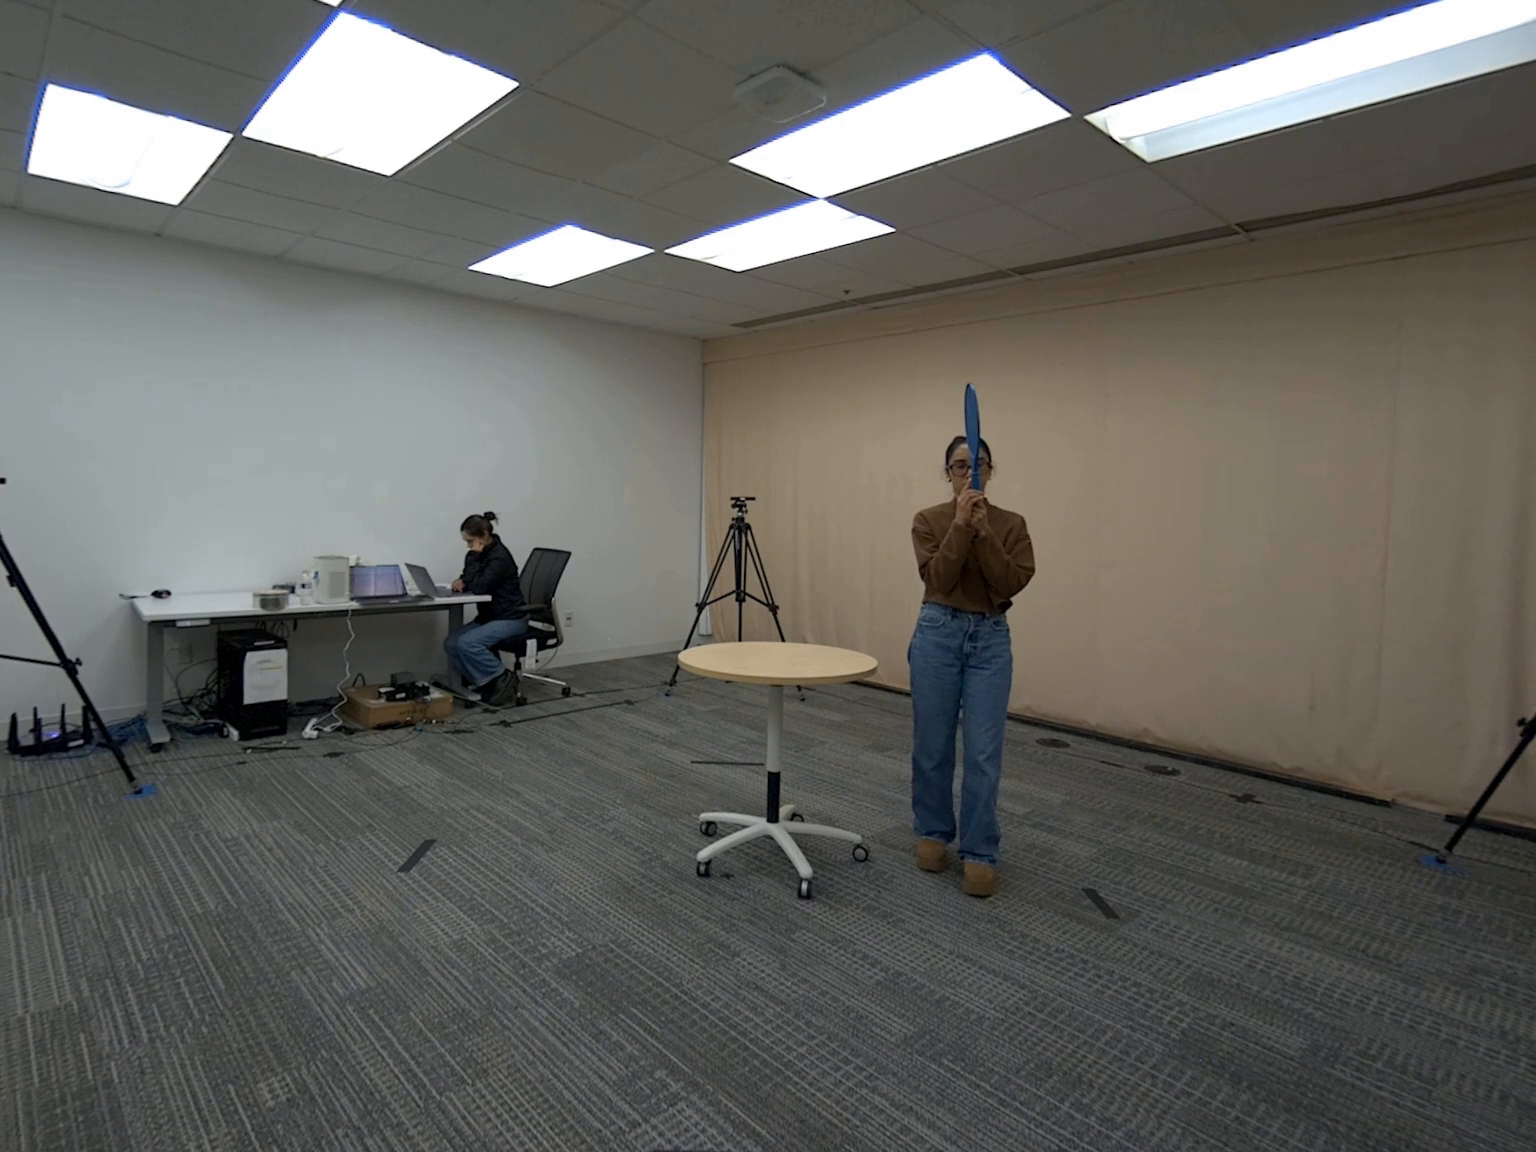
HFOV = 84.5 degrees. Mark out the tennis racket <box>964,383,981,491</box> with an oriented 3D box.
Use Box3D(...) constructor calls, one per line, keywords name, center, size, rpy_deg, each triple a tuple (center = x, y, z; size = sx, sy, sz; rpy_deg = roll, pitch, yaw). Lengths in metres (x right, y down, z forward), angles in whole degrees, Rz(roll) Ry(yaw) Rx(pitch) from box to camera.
Box3D(name="tennis racket", center=(0.709, -0.457, 2.952), size=(0.032, 0.429, 0.215), rpy_deg=(-5, 10, 2))
